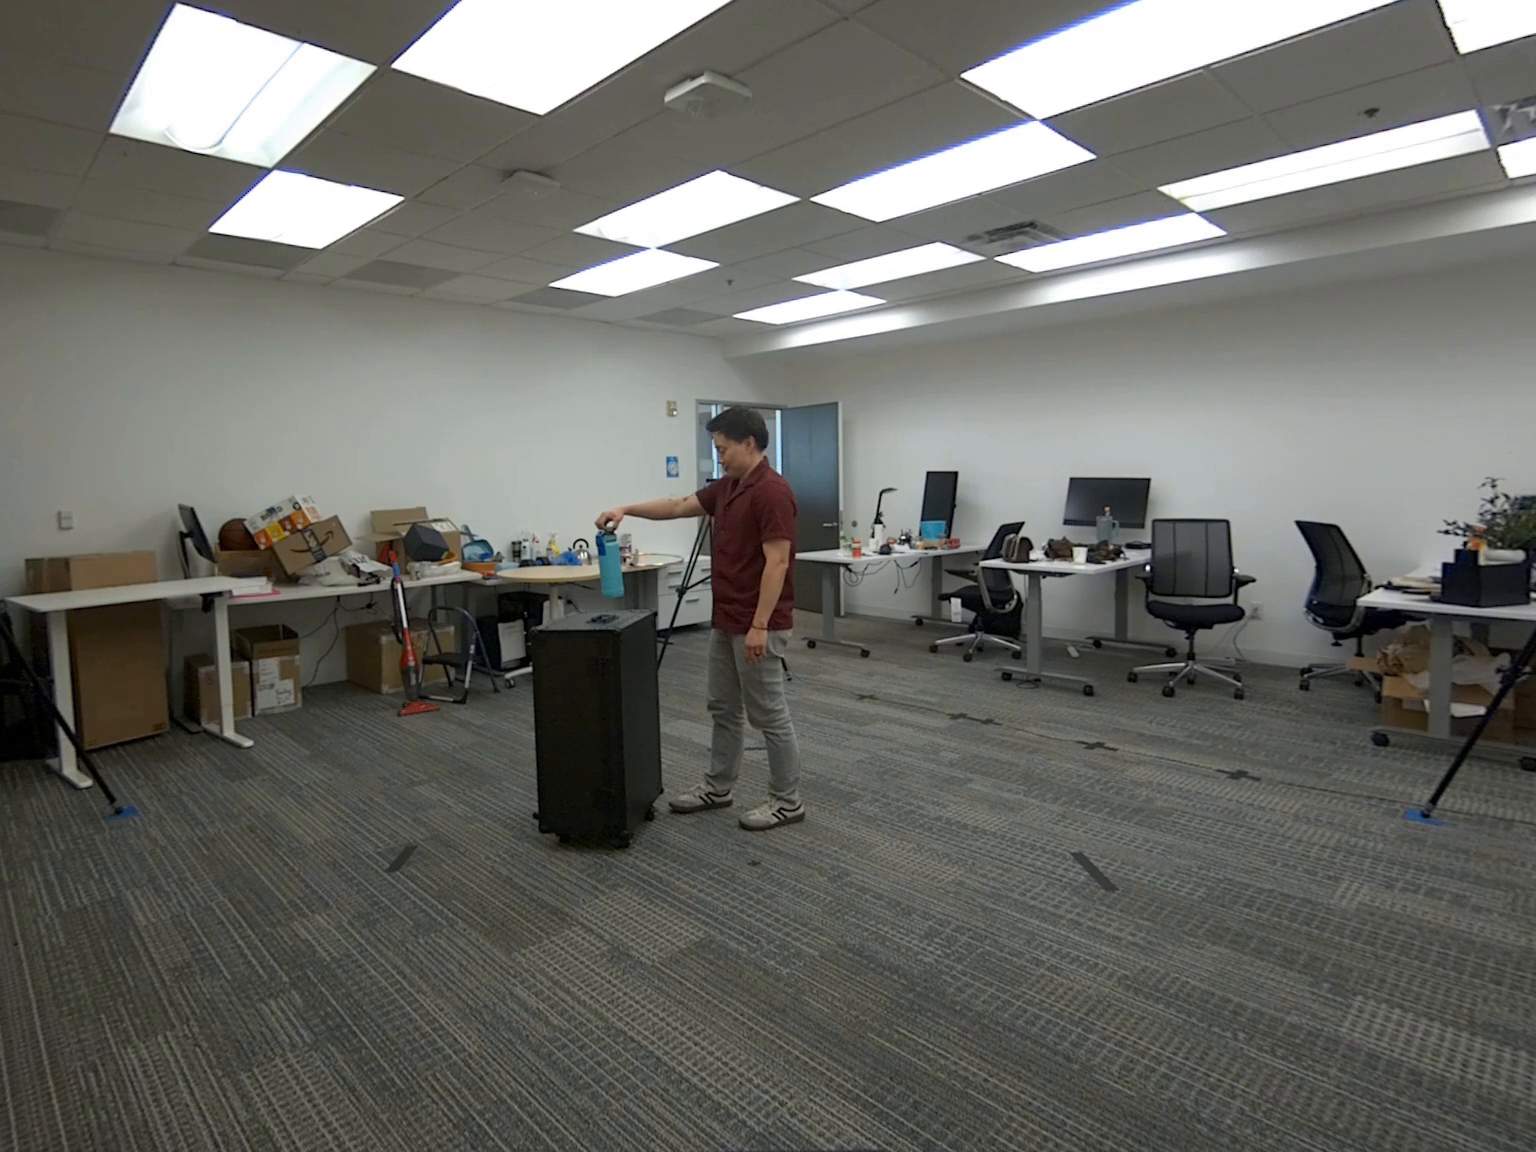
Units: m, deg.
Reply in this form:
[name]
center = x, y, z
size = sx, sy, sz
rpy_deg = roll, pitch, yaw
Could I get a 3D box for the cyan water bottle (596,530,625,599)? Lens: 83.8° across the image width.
[cyan water bottle]
center = -0.644, -0.058, 3.489
size = 0.092, 0.281, 0.093
rpy_deg = -5, 9, -1
